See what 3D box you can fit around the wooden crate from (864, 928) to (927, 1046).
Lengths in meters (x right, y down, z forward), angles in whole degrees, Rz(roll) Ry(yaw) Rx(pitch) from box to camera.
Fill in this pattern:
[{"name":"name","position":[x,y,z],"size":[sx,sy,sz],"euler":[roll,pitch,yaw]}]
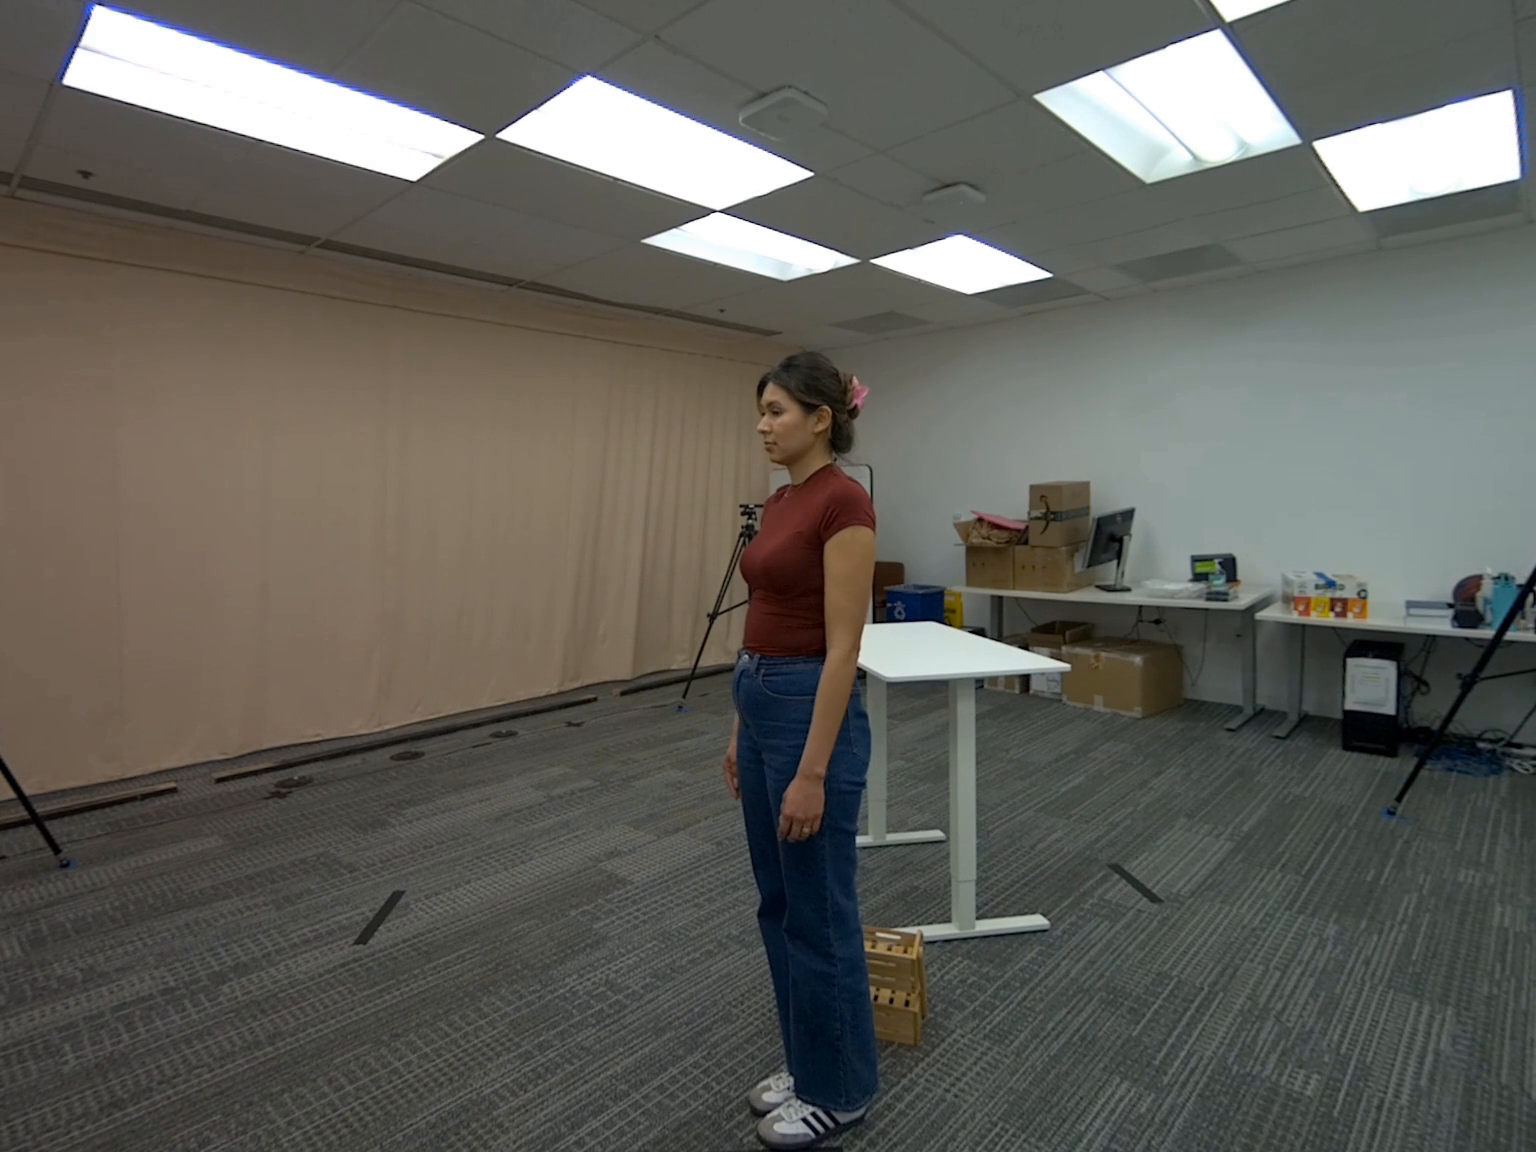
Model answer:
[{"name":"wooden crate","position":[0.268,1.062,2.283],"size":[0.331,0.272,0.297],"euler":[1,5,17]}]
